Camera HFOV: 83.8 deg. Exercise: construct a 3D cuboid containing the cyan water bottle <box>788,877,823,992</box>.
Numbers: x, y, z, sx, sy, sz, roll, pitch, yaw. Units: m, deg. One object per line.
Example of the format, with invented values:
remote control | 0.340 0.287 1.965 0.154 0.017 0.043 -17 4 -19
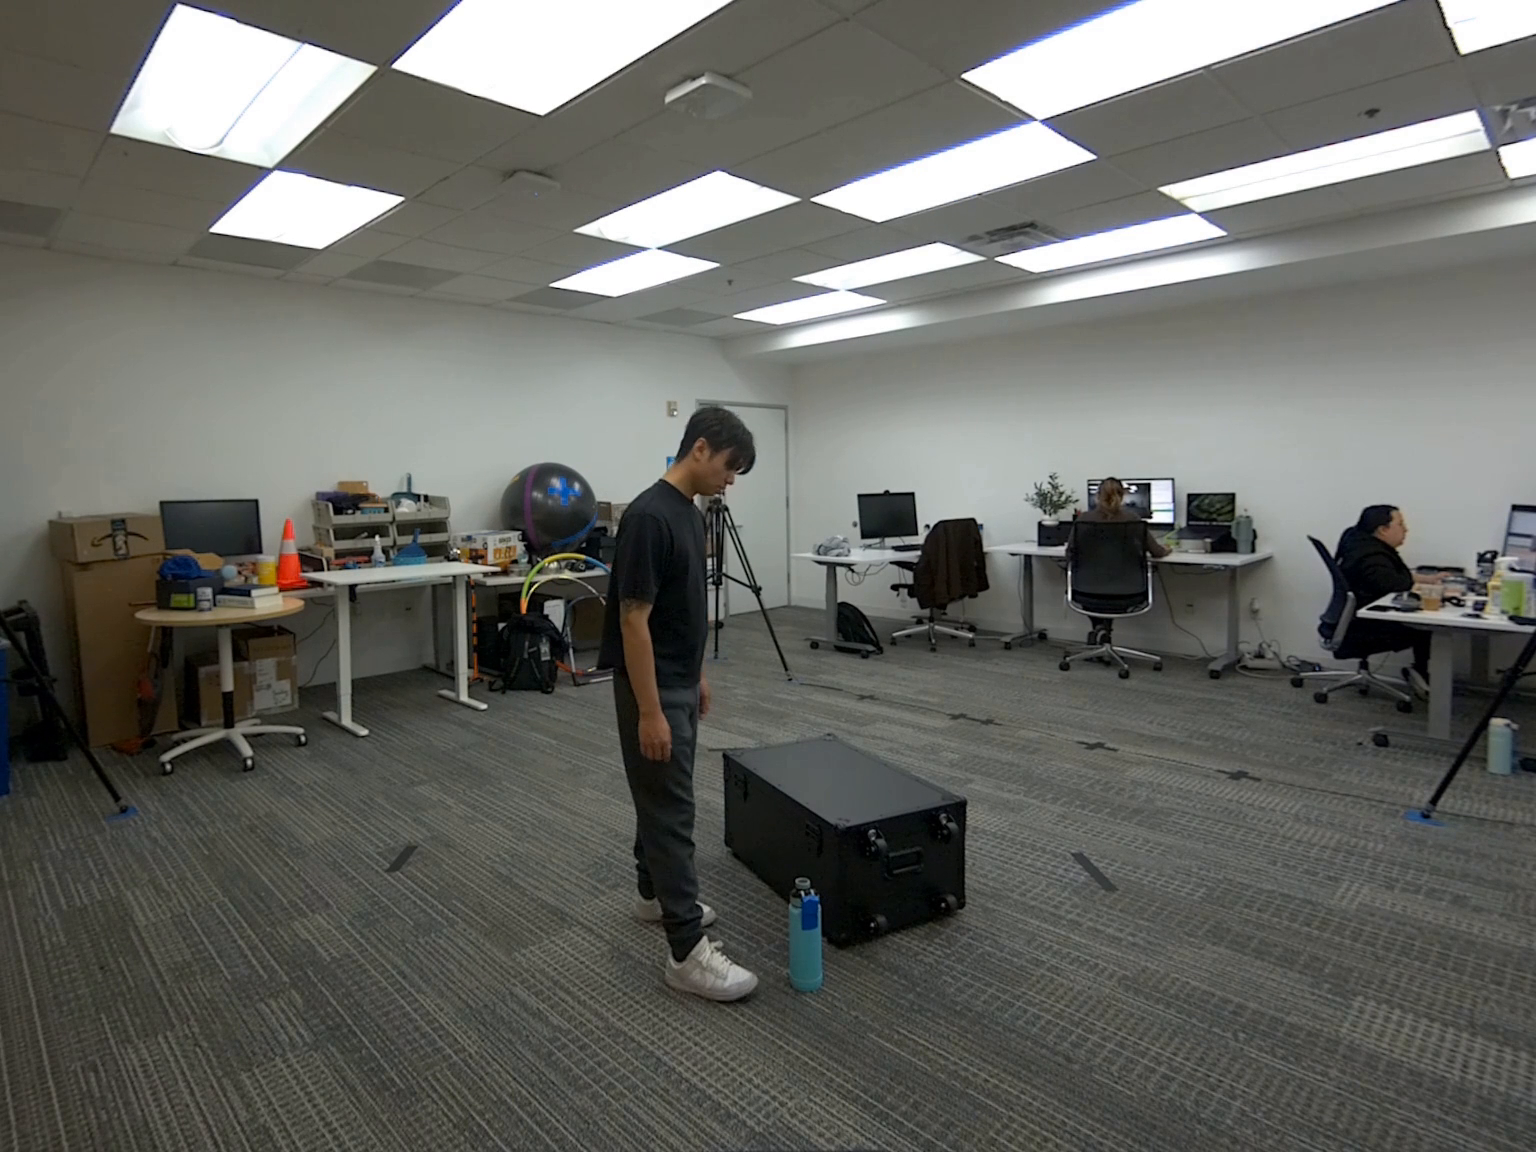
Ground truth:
cyan water bottle | 0.101 0.988 2.361 0.092 0.282 0.093 1 6 -2
